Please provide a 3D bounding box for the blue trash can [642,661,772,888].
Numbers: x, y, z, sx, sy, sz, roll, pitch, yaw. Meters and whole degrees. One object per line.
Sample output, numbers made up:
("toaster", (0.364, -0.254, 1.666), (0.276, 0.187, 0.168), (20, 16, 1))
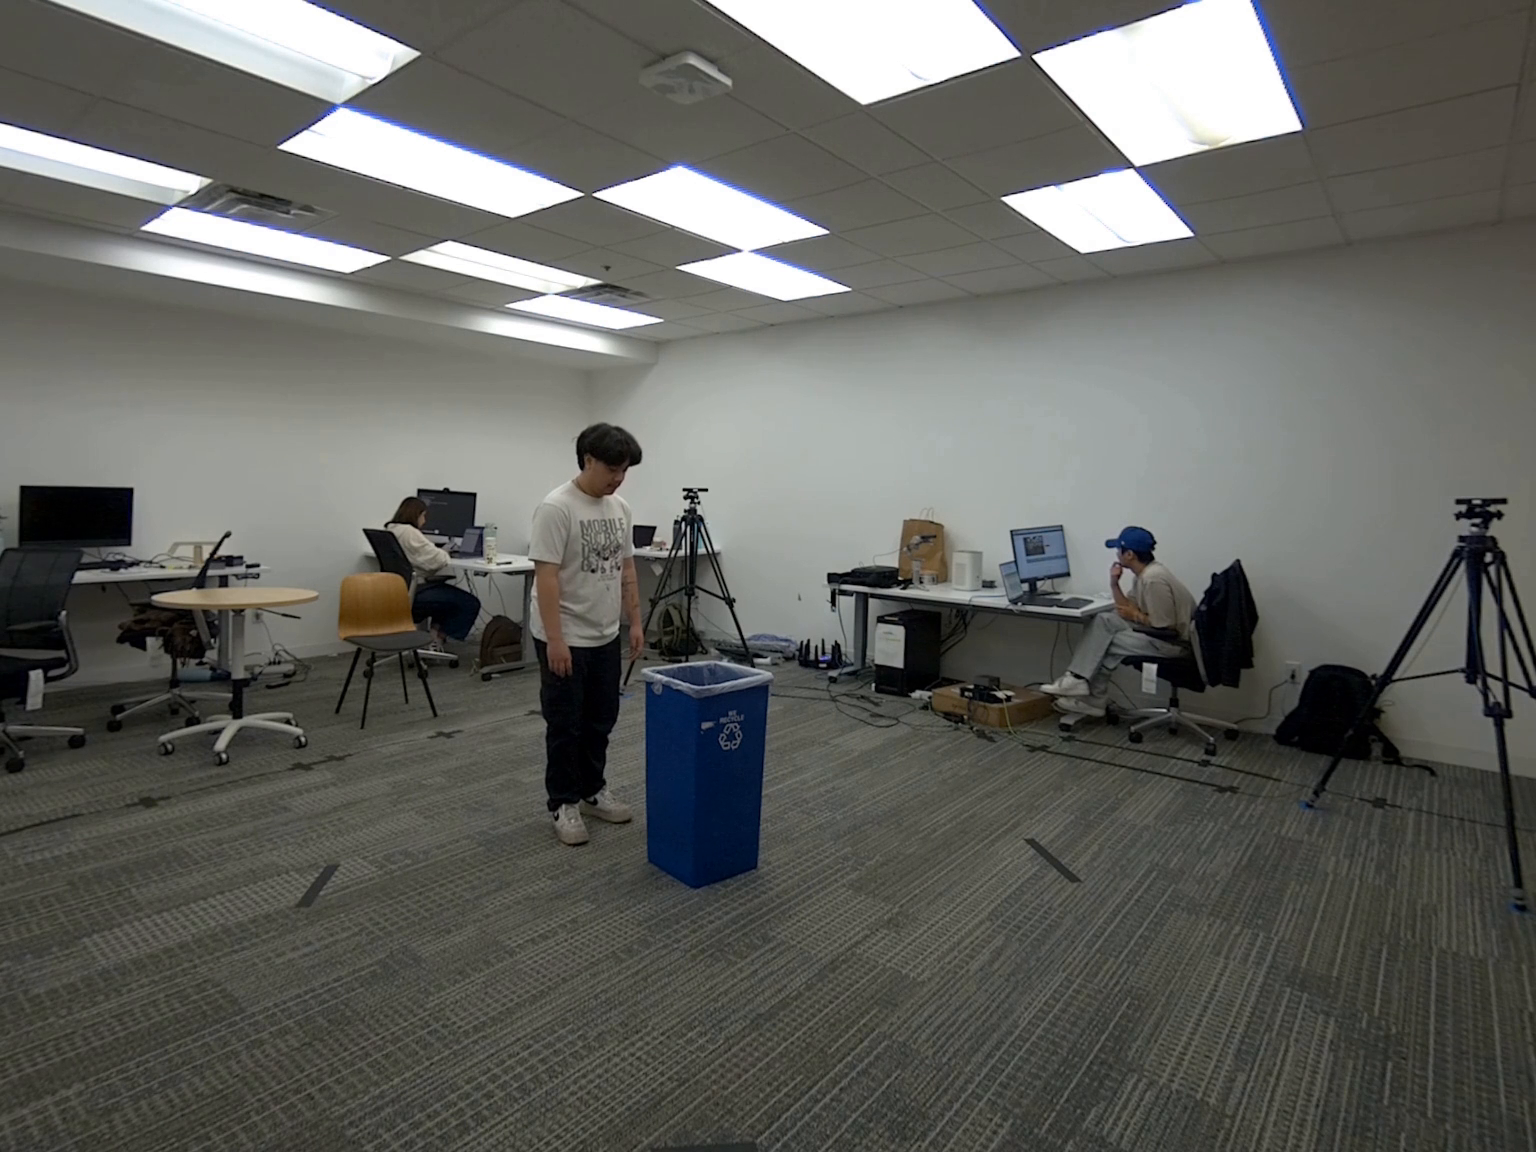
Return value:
("blue trash can", (-0.240, 0.706, 3.145), (0.363, 0.711, 0.391), (-2, 4, -41))
